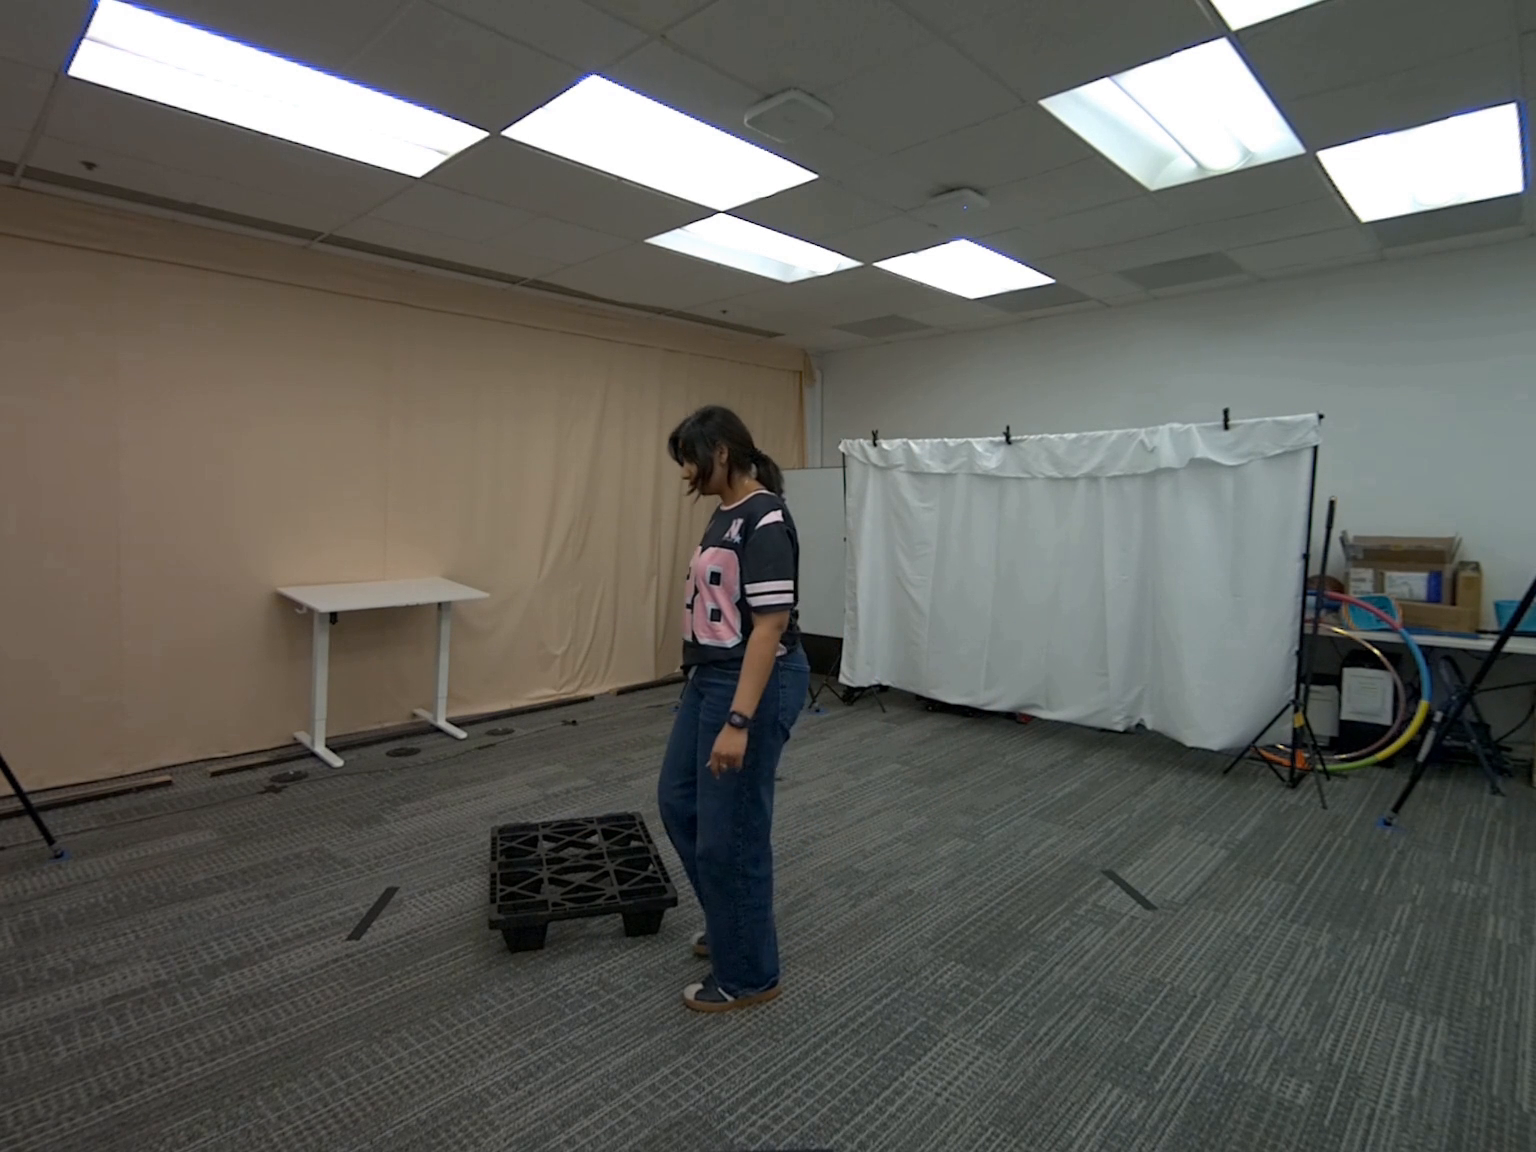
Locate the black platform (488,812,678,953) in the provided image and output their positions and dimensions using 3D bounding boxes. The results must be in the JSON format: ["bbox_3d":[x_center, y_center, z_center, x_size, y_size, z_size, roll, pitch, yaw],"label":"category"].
[{"bbox_3d":[-0.692,1.079,3.037,0.595,0.143,0.821,-1,5,-16],"label":"black platform"}]
